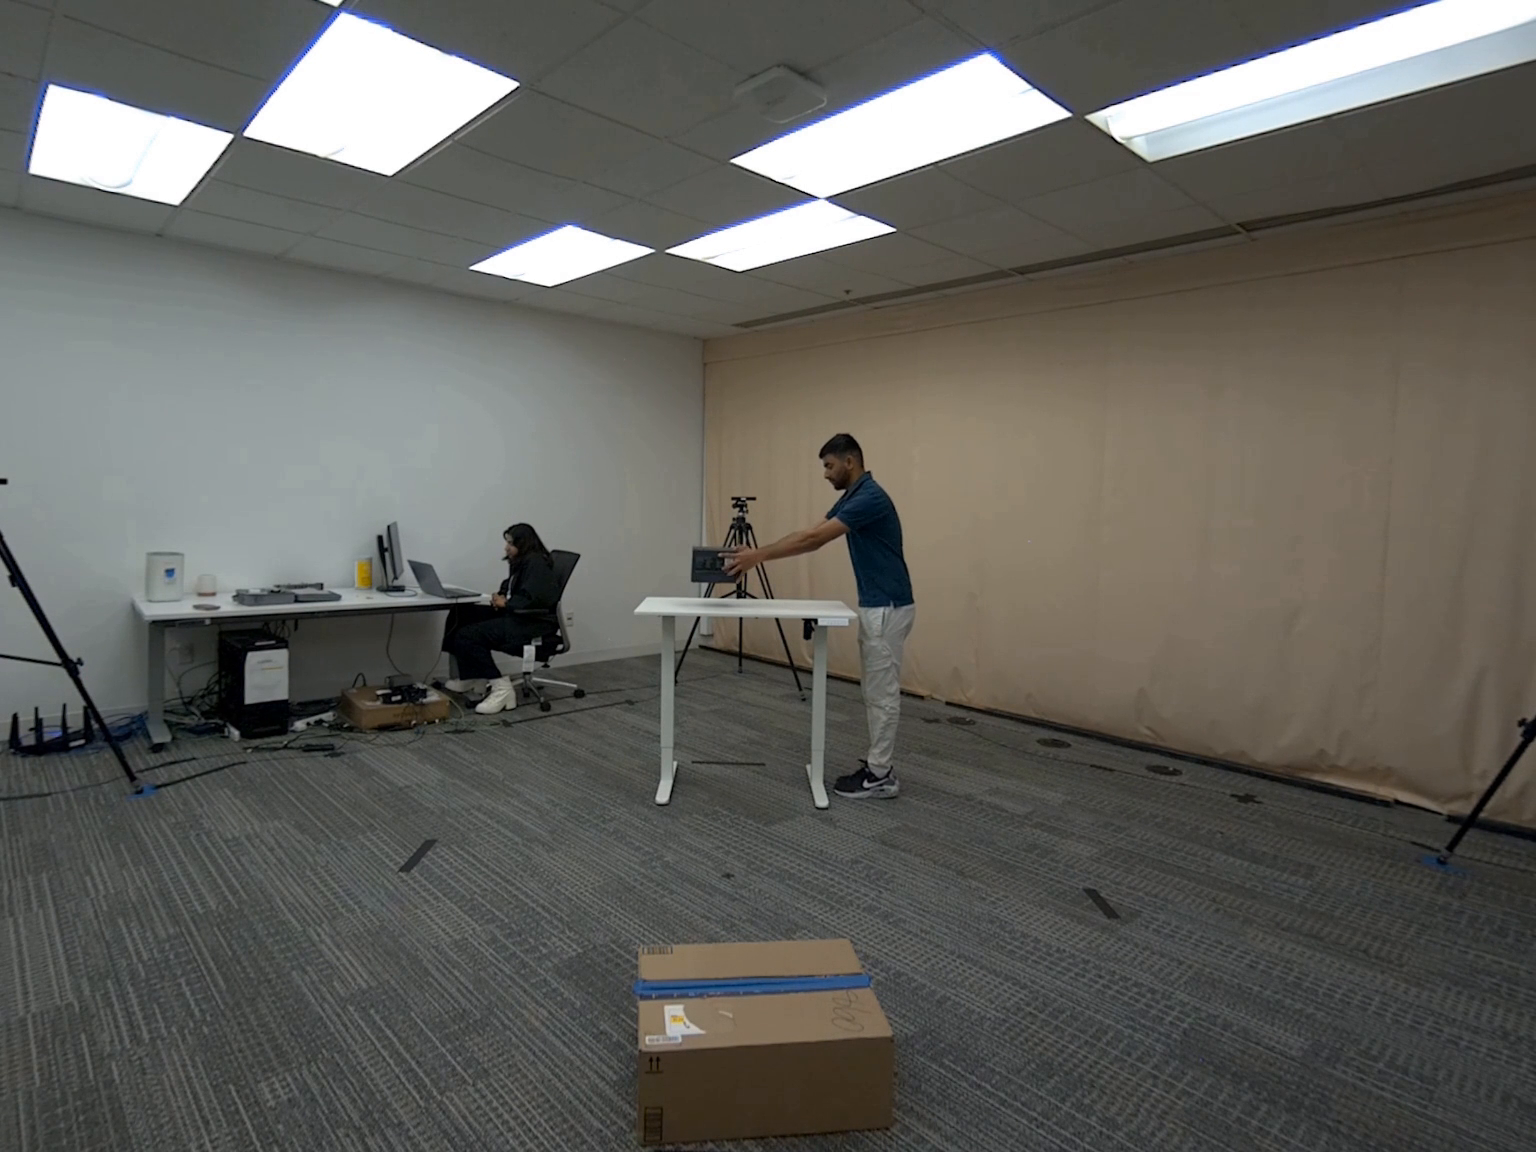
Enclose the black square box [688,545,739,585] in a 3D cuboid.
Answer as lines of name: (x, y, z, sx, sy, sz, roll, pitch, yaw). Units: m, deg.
black square box: (-0.259, -0.057, 4.026, 0.217, 0.155, 0.228, 4, 4, 1)
